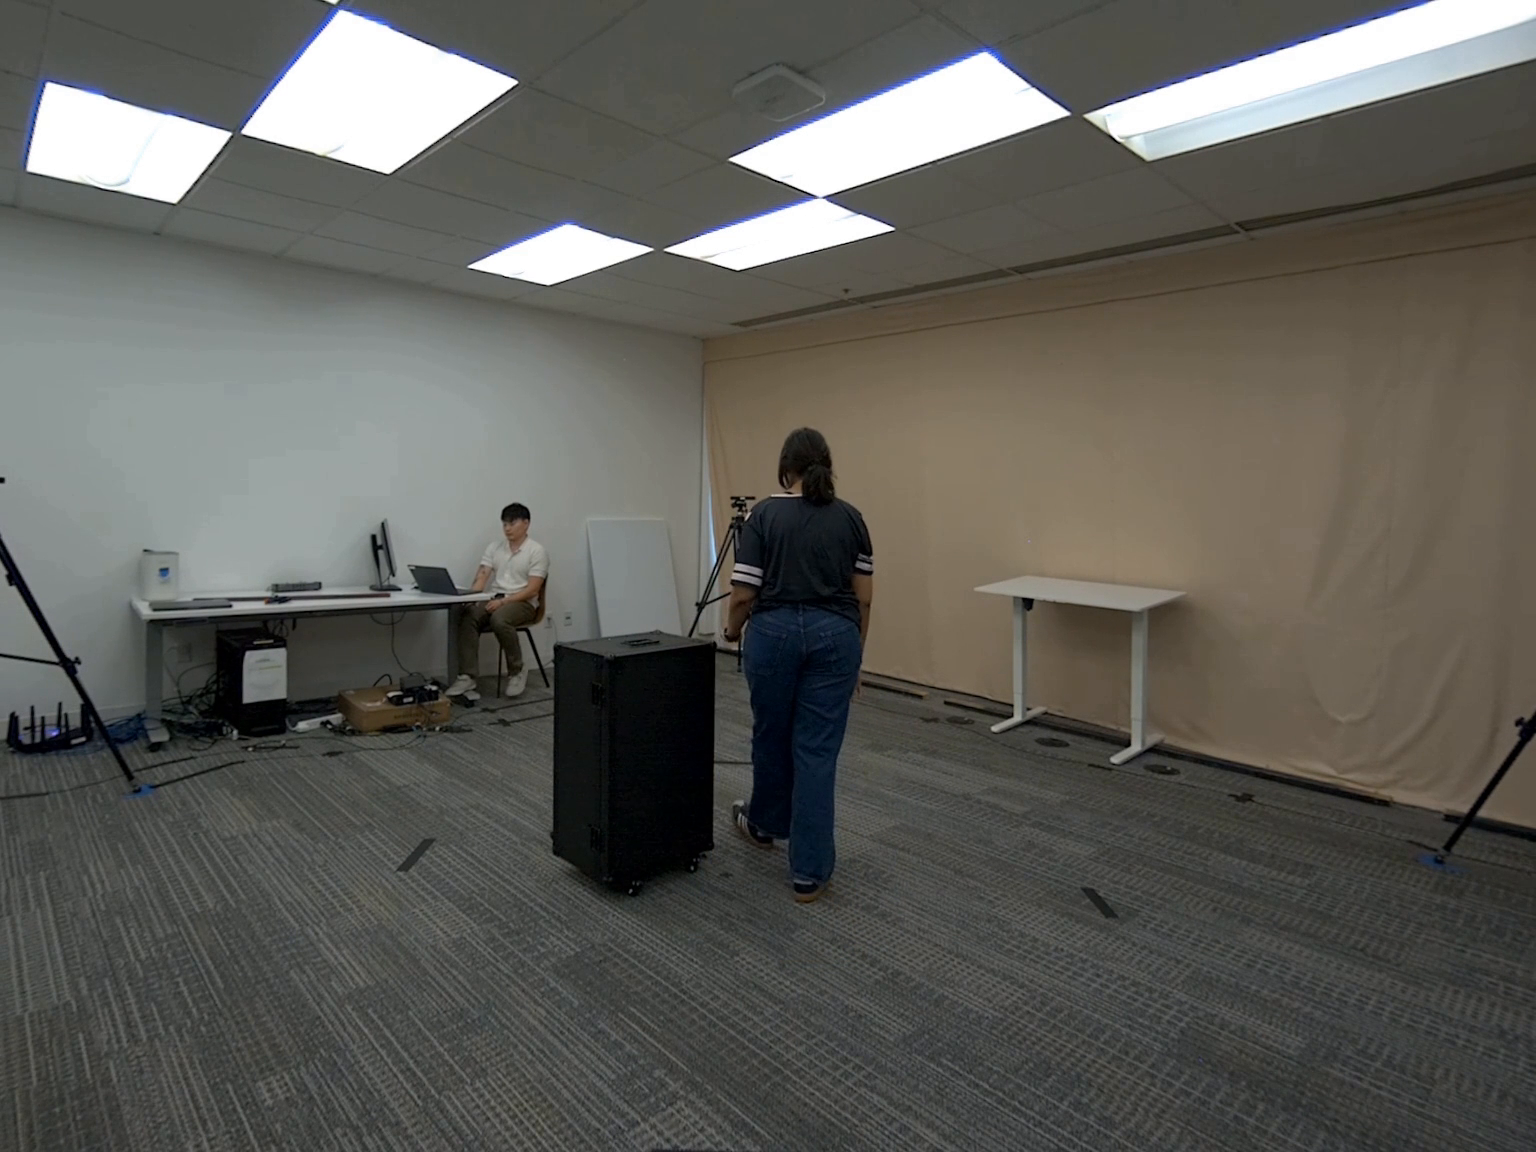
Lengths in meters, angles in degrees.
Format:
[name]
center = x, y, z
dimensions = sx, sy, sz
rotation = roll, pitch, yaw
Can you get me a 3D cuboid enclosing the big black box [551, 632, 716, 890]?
[big black box]
center = -0.508, 0.670, 3.111
dimensions = 0.509, 0.860, 0.406
rotation = -2, 2, -44
